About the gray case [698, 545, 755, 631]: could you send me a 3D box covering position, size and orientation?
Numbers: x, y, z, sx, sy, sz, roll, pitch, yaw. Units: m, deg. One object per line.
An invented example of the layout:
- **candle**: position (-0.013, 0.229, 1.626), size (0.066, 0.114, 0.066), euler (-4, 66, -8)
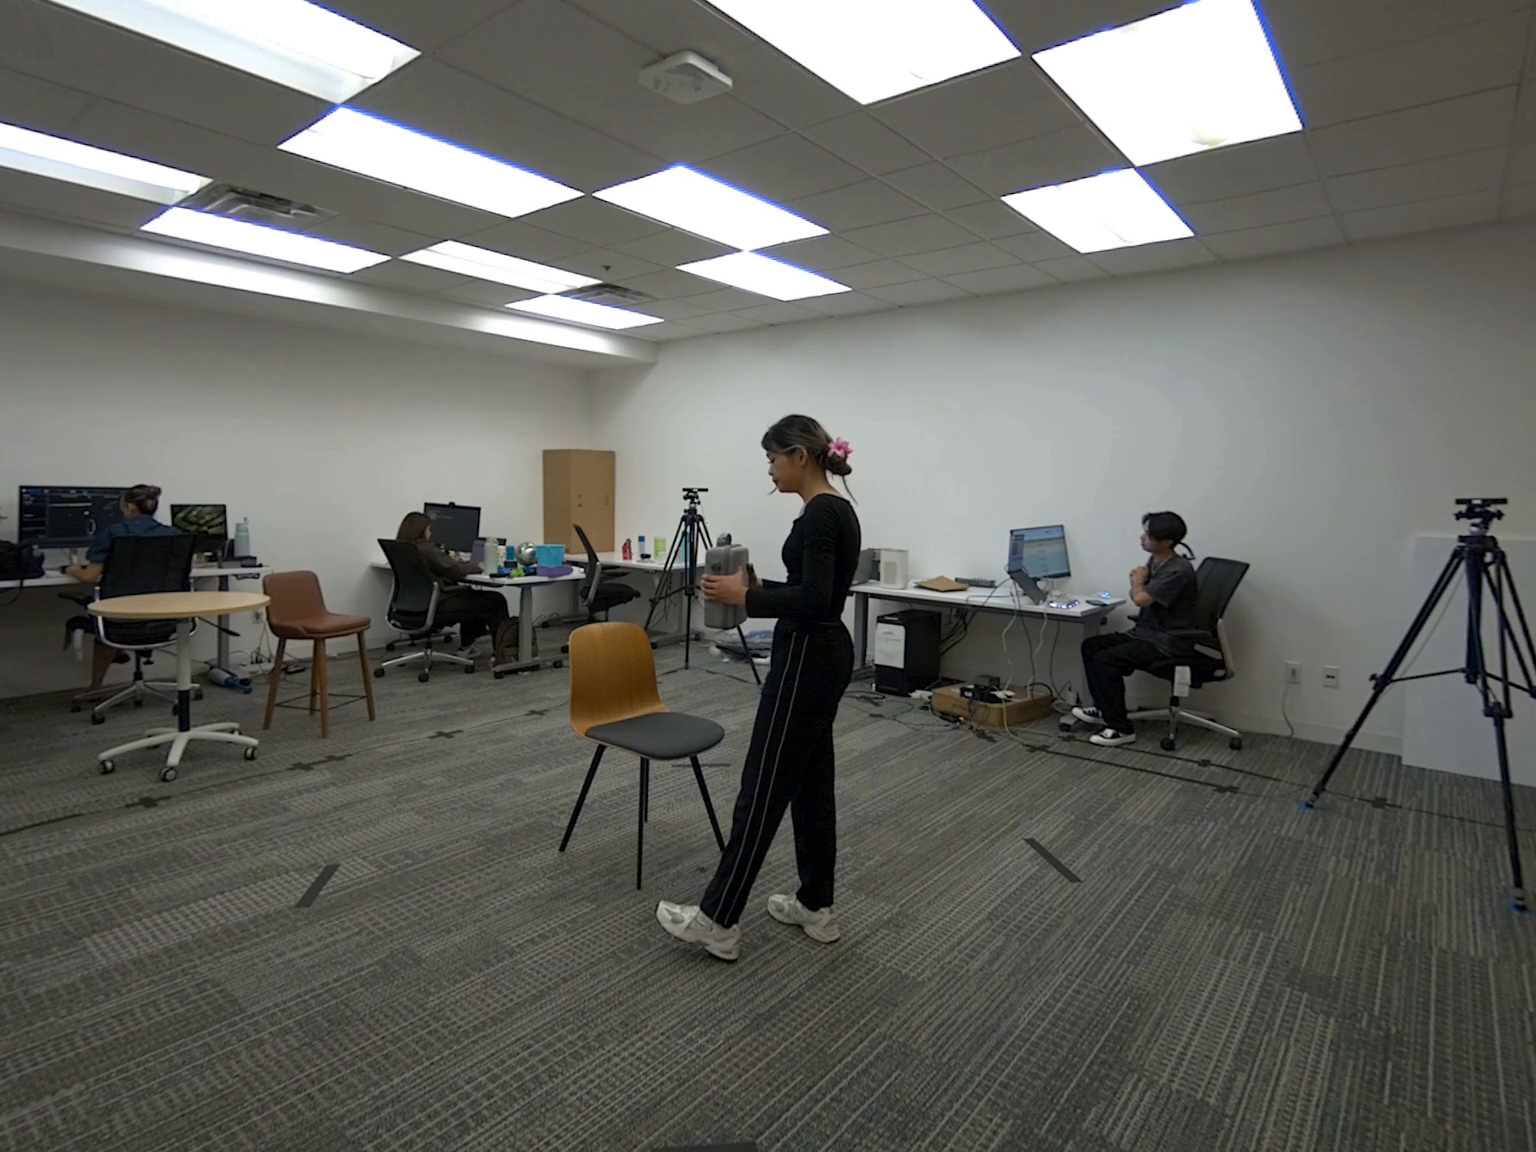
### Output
- **gray case**: position (-0.139, 0.024, 2.684), size (0.105, 0.260, 0.254), euler (-3, 2, 10)
